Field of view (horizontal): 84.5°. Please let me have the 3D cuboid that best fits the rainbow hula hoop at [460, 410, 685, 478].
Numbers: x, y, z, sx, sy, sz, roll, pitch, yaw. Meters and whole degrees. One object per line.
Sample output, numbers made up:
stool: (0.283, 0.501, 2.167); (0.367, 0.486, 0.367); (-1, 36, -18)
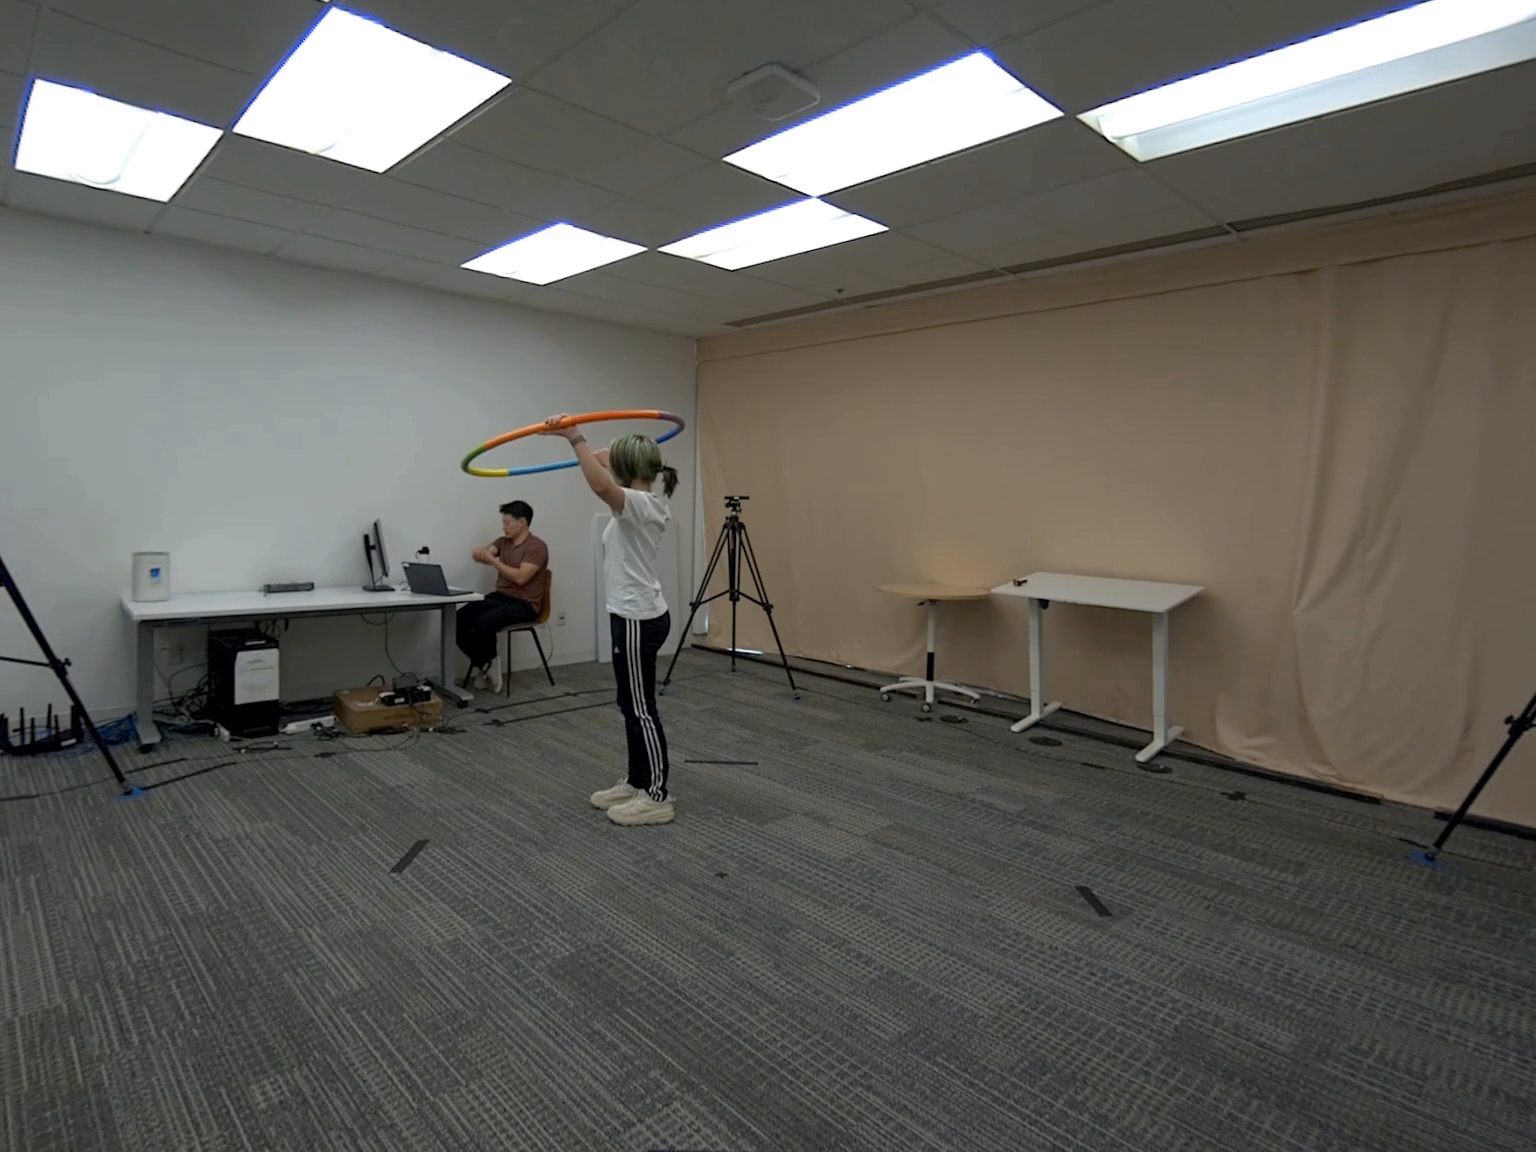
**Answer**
rainbow hula hoop: (-0.833, -0.564, 3.665); (0.985, 0.051, 0.985); (-13, 1, -2)
